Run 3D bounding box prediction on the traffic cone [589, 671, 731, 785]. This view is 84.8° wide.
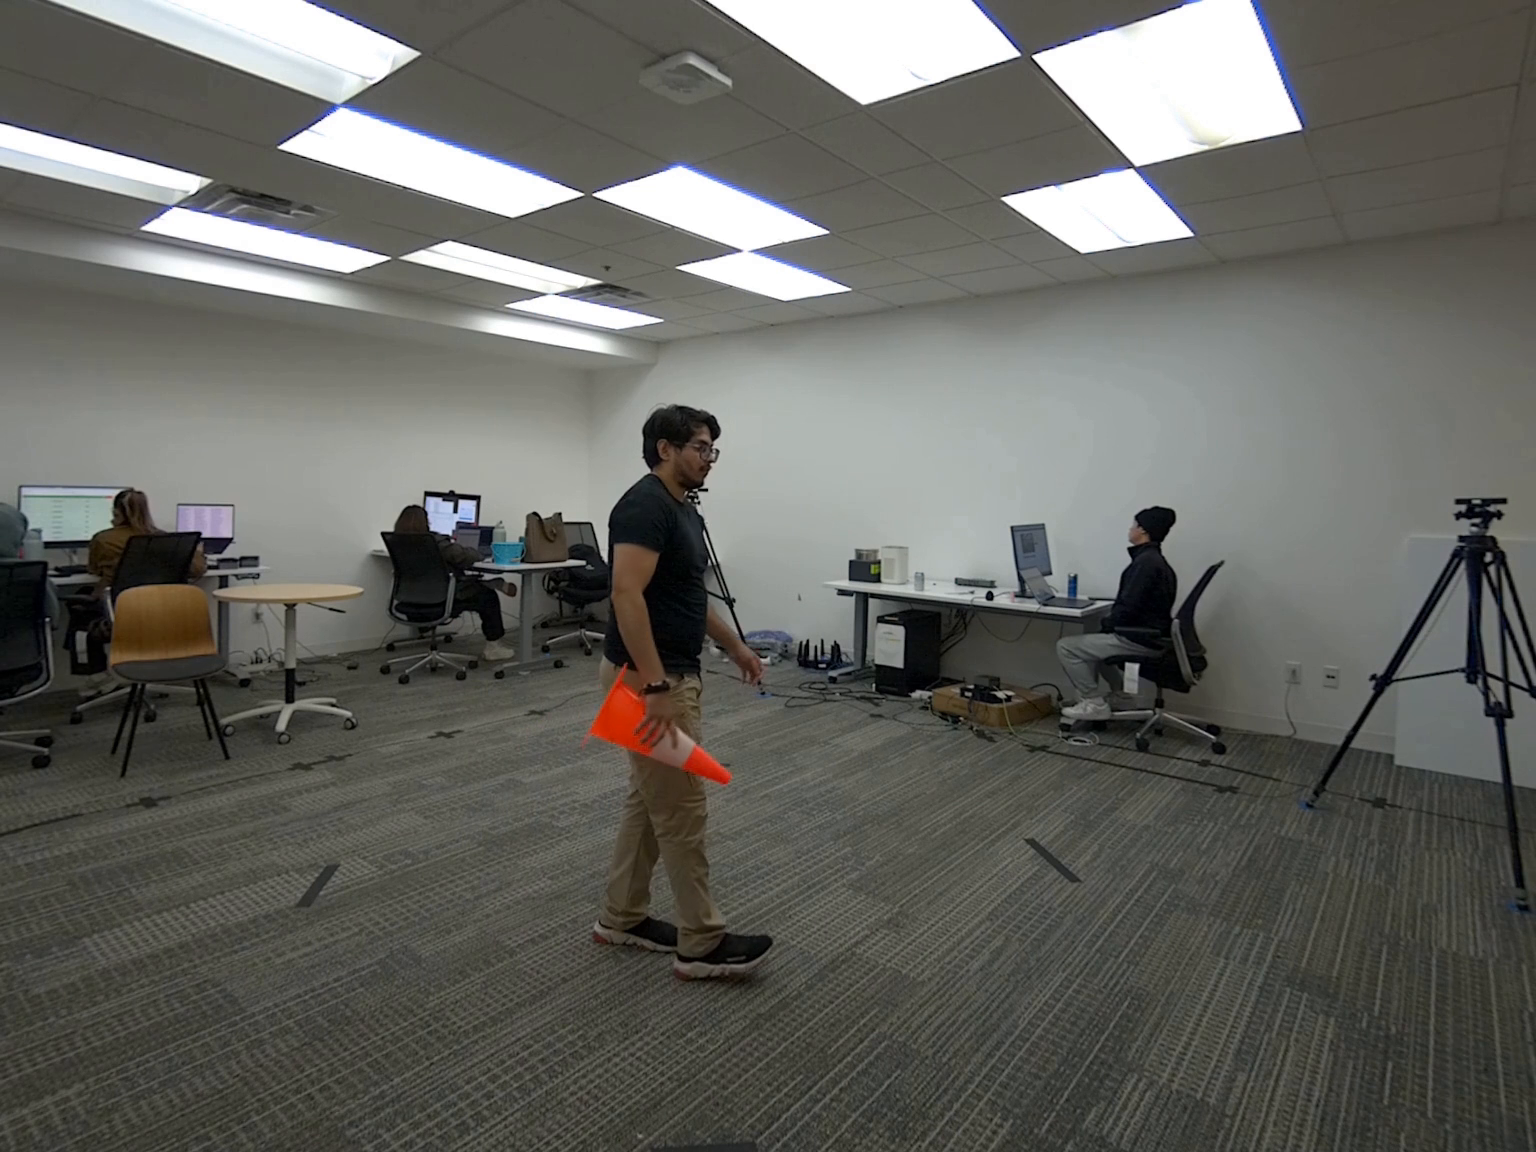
[{"bbox_3d":[-0.268,0.429,2.223,0.386,0.206,0.200,28,-31,4],"label":"traffic cone"}]
